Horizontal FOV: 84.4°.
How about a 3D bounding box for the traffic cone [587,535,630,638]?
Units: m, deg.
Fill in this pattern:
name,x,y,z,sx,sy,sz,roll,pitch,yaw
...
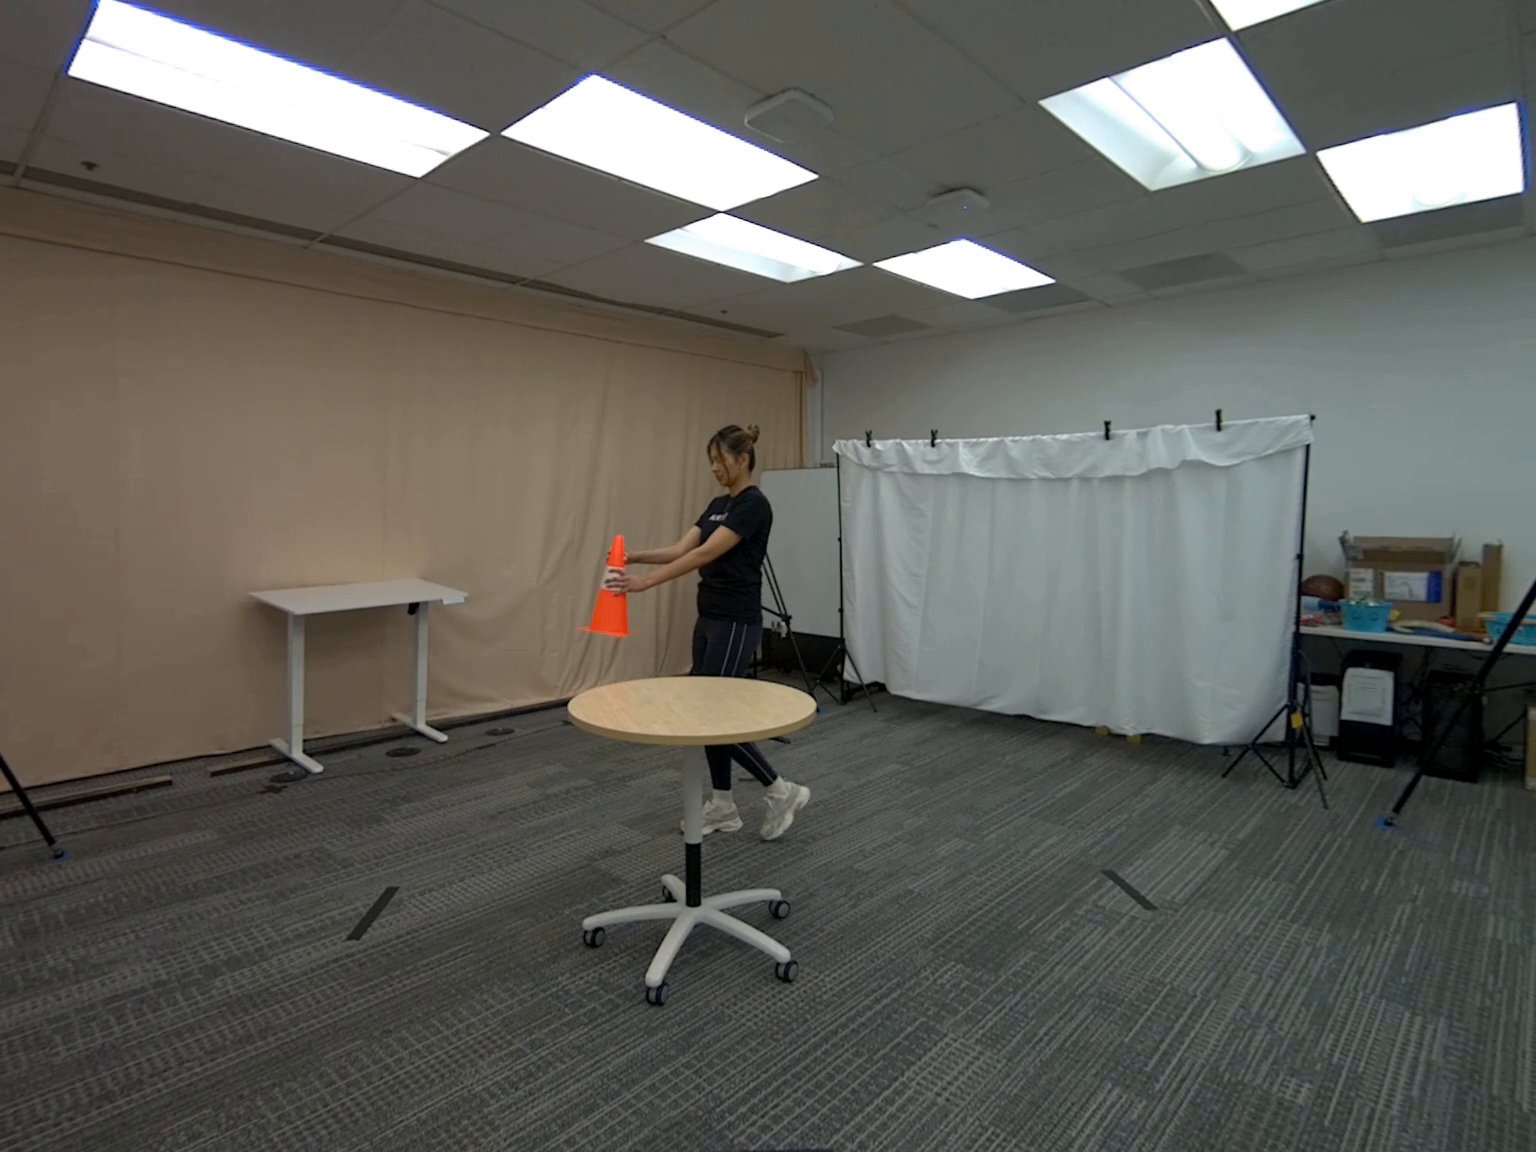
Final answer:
name,x,y,z,sx,sy,sz,roll,pitch,yaw
traffic cone,-0.618,0.033,3.356,0.209,0.384,0.199,6,-1,19
